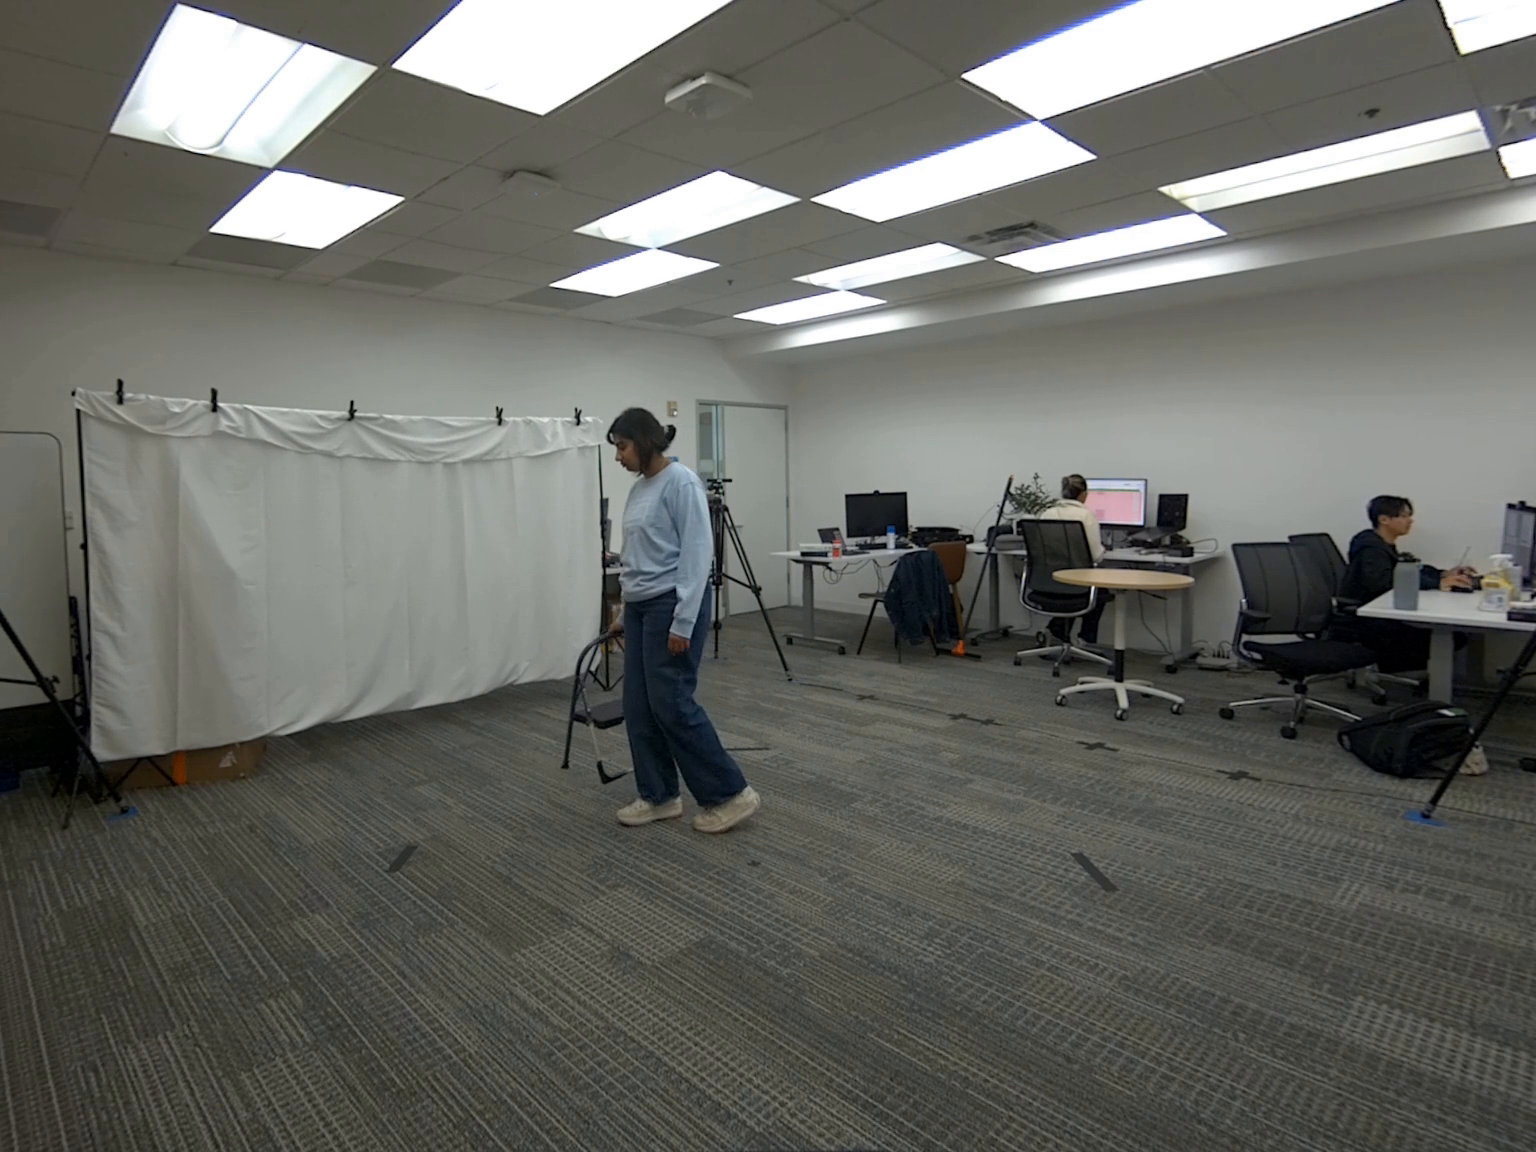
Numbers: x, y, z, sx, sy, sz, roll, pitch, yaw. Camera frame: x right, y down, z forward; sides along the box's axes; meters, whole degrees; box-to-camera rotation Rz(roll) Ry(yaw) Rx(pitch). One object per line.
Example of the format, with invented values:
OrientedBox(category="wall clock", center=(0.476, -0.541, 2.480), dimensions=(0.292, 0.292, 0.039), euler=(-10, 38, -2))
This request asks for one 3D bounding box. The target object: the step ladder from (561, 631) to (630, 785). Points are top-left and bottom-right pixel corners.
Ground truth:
OrientedBox(category="step ladder", center=(-0.684, 0.541, 3.811), dimensions=(0.420, 0.602, 0.360), euler=(-11, 9, -44))
